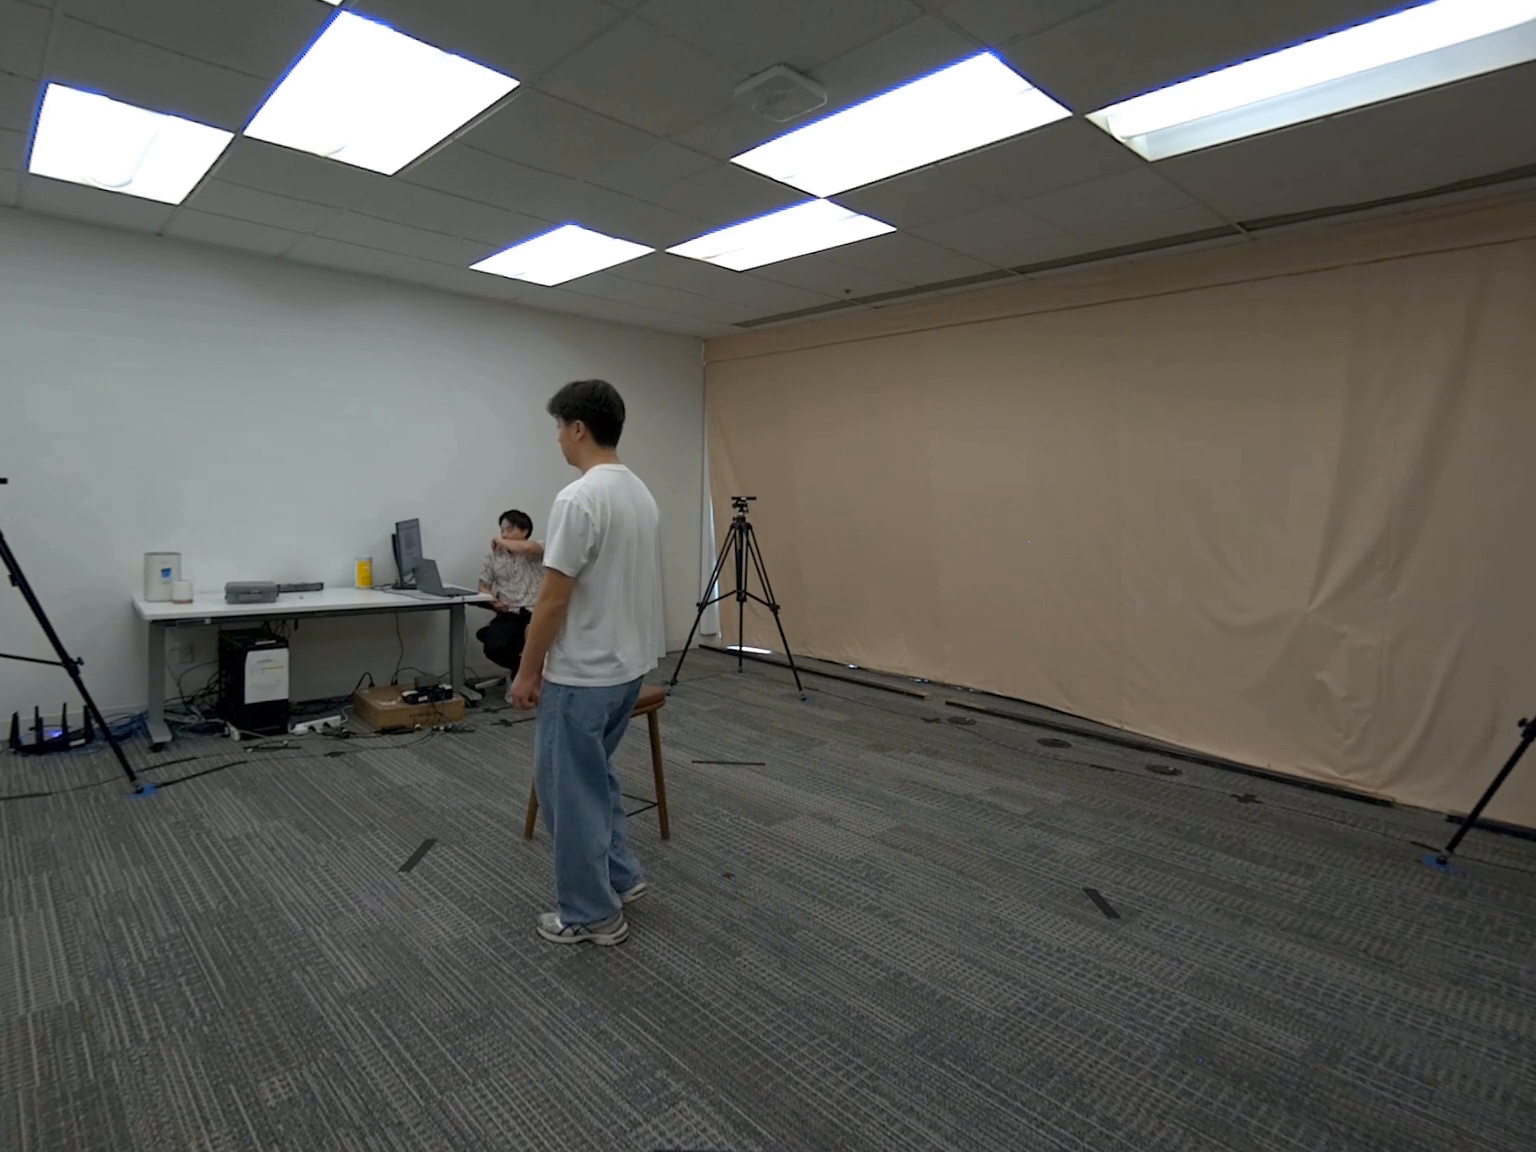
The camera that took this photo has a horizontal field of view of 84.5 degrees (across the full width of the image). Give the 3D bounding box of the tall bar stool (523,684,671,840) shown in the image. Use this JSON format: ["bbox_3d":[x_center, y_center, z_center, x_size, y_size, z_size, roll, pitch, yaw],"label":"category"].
[{"bbox_3d":[-0.699,0.637,3.392,0.479,0.889,0.446,2,2,39],"label":"tall bar stool"}]
